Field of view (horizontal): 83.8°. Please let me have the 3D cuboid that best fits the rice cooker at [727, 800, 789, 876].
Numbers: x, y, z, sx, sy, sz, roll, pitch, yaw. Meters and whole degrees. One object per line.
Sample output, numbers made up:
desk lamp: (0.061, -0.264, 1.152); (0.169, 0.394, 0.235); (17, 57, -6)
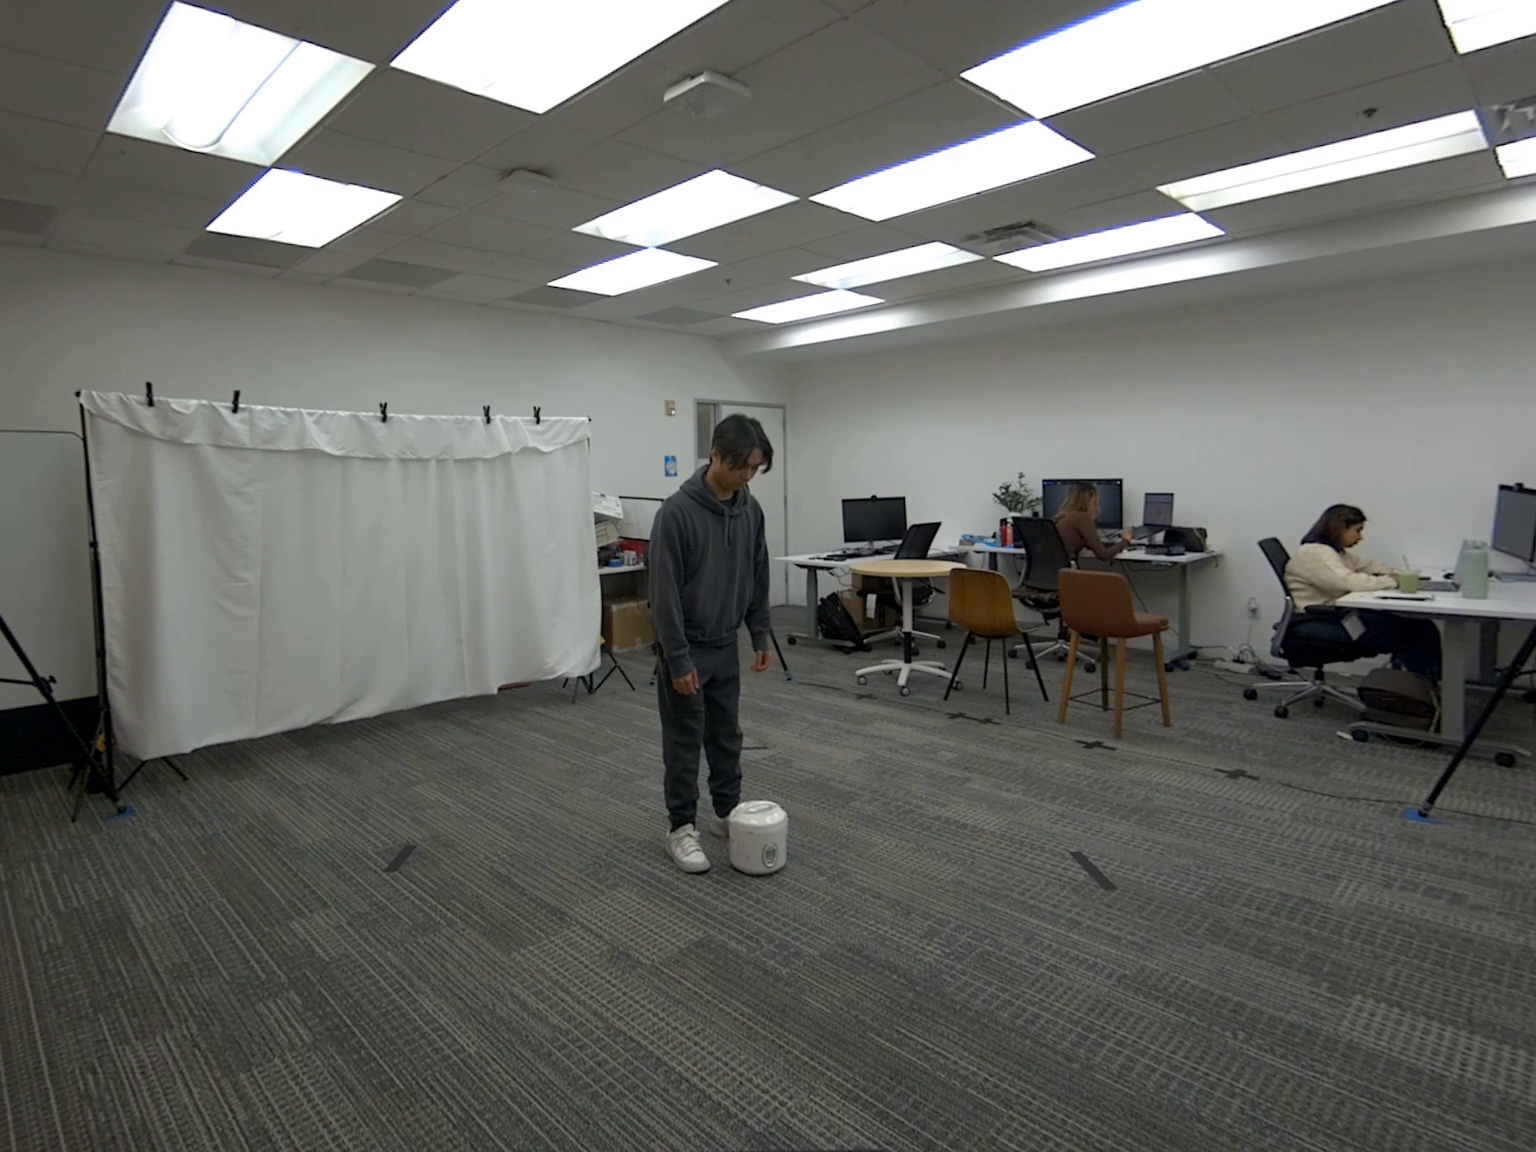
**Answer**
rice cooker: (-0.029, 0.928, 3.079); (0.216, 0.232, 0.222); (-3, 4, -23)
